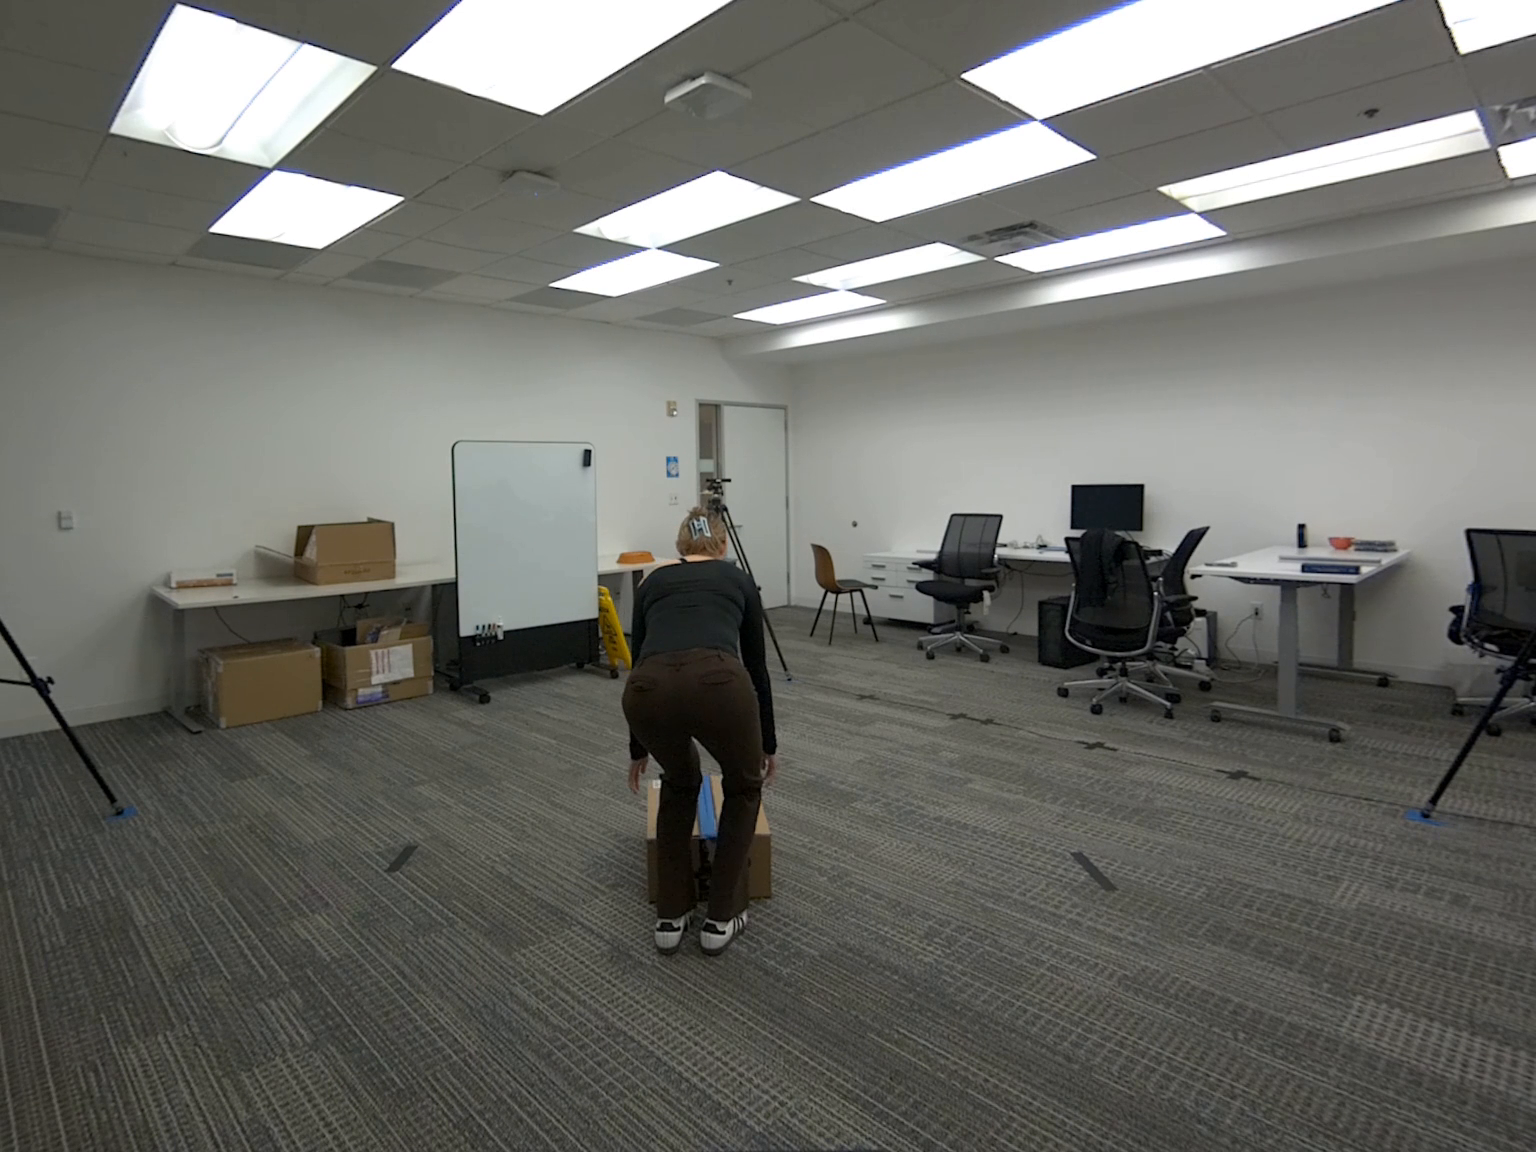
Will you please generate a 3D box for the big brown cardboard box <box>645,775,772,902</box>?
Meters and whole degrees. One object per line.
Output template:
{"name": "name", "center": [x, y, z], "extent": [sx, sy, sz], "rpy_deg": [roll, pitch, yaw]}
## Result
{"name": "big brown cardboard box", "center": [-0.224, 0.934, 3.112], "extent": [0.415, 0.232, 0.595], "rpy_deg": [-1, 7, -6]}
